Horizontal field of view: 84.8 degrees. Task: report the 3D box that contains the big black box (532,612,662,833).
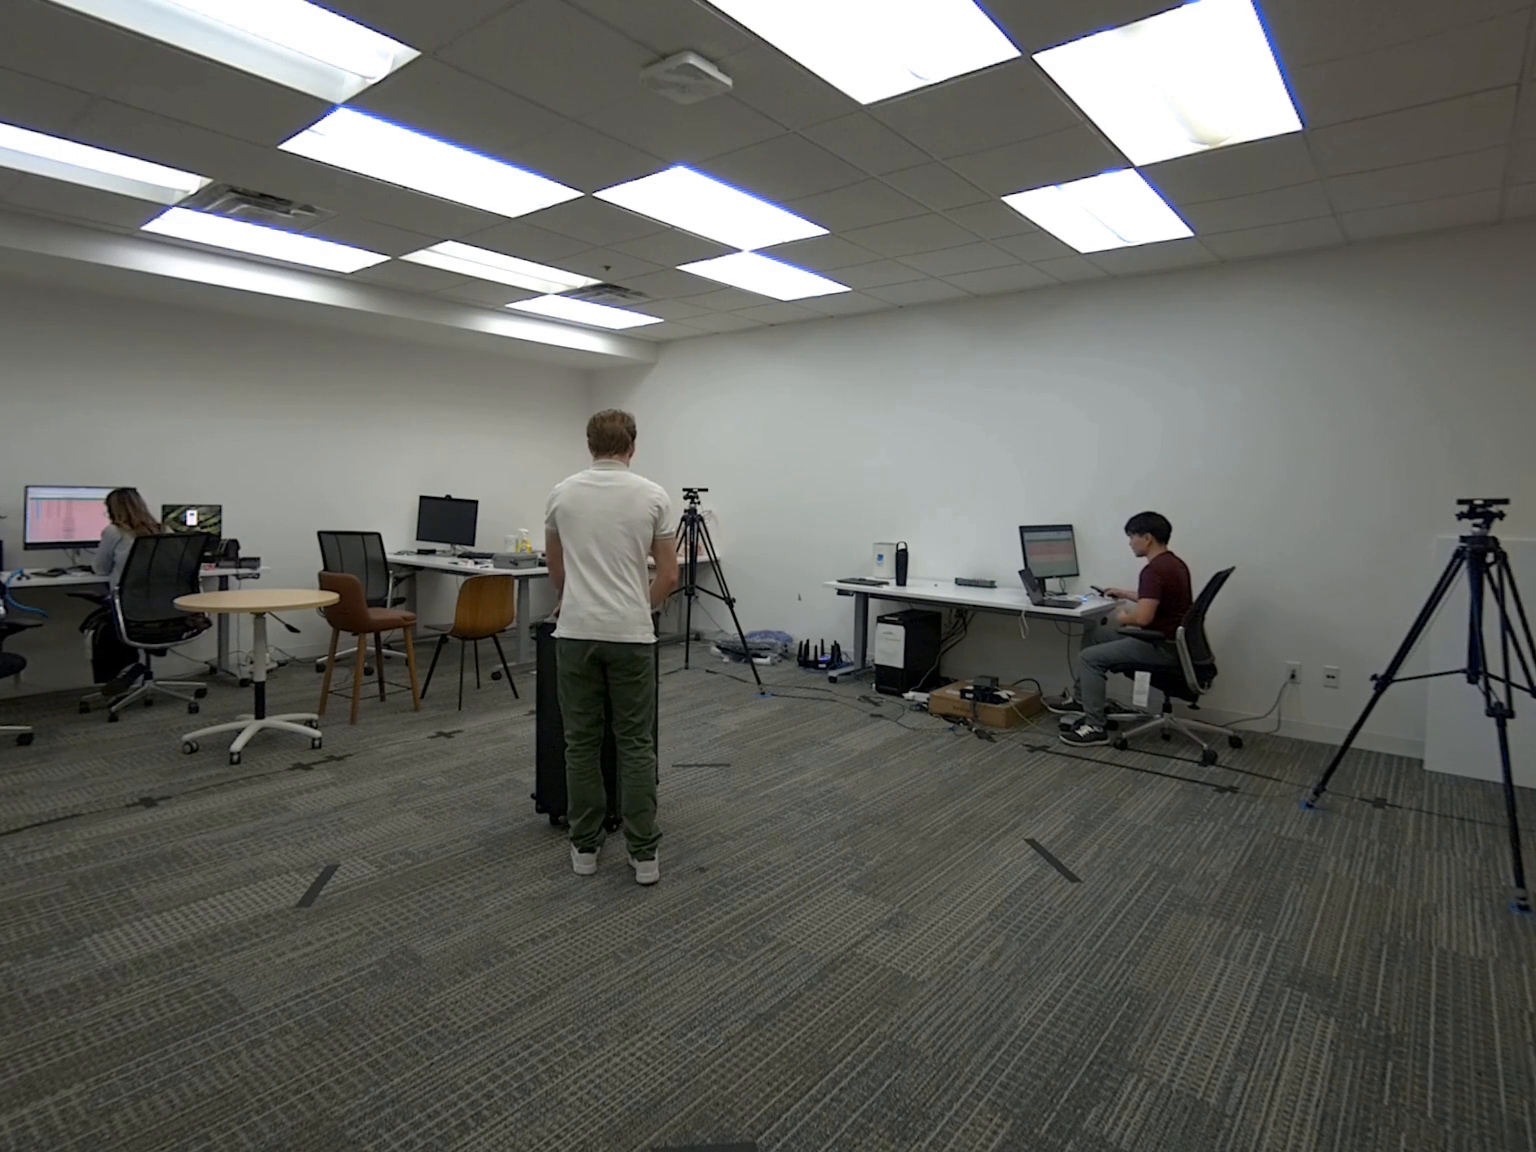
[{"bbox_3d":[-0.729,0.588,3.598,0.391,0.866,0.517,1,3,13],"label":"big black box"}]
